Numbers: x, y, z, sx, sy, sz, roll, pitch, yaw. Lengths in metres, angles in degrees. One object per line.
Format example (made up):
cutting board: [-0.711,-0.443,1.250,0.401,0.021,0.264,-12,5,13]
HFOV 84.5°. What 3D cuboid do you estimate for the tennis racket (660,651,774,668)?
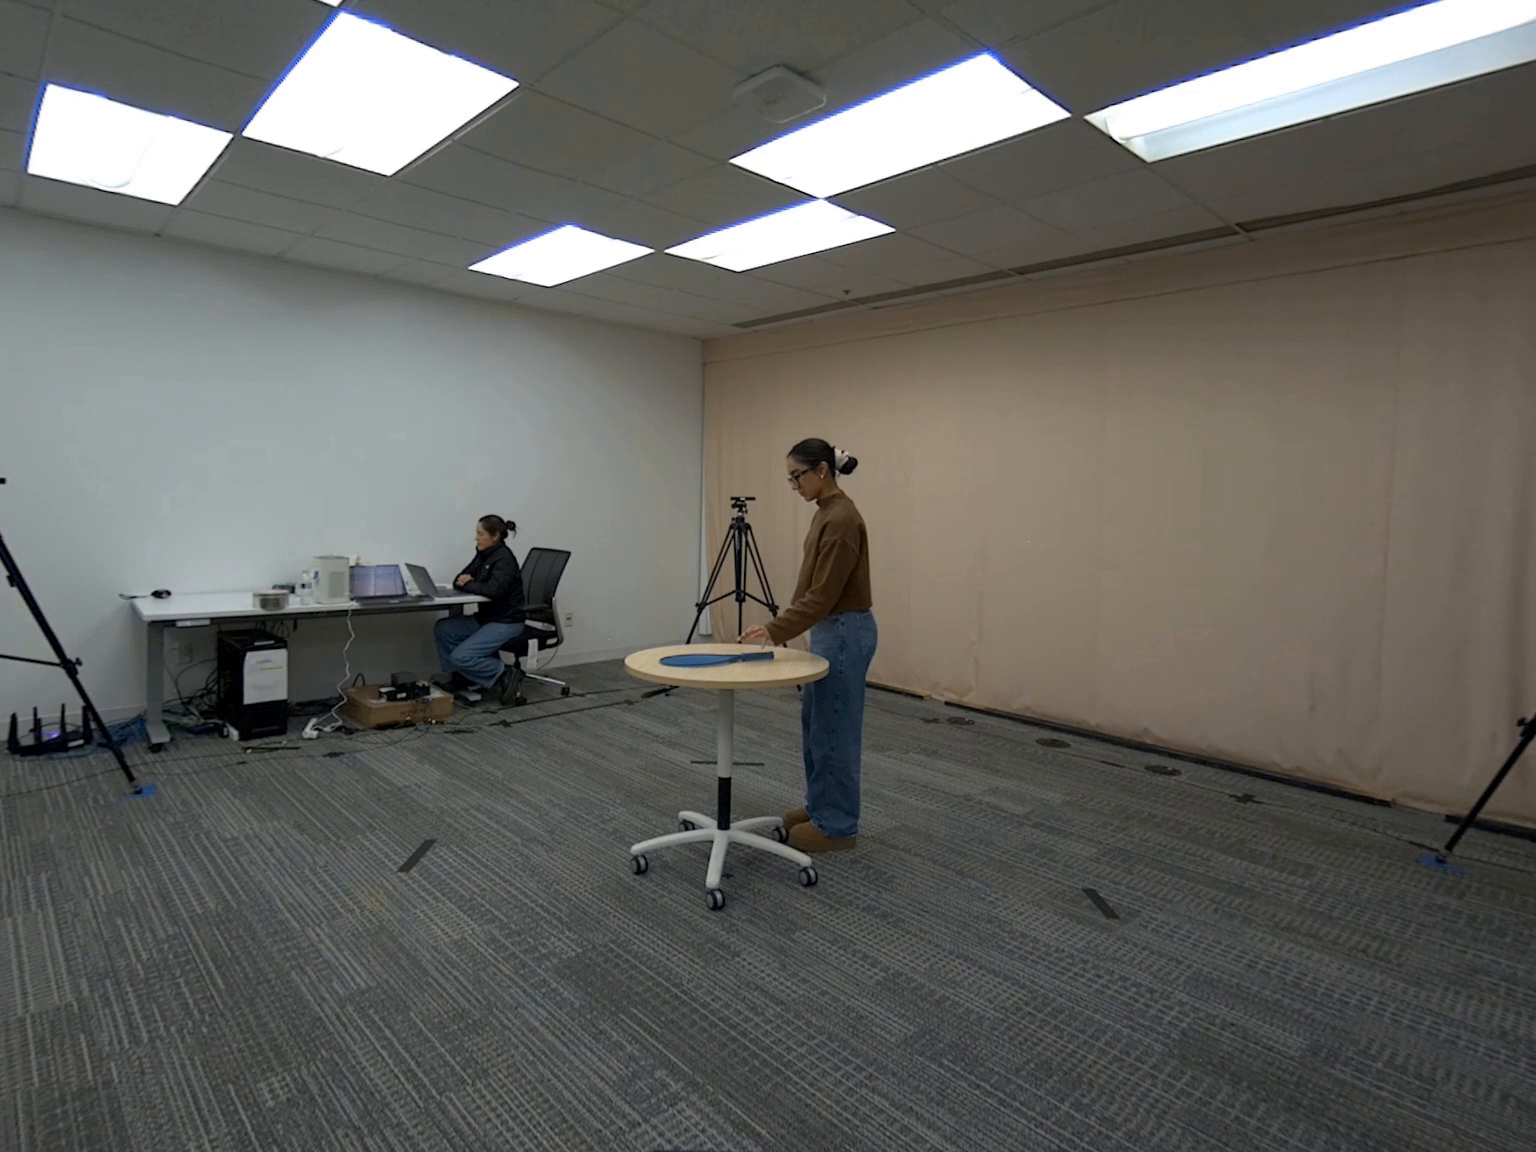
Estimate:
tennis racket: [-0.200,0.310,3.128,0.429,0.031,0.216,-1,5,-11]
